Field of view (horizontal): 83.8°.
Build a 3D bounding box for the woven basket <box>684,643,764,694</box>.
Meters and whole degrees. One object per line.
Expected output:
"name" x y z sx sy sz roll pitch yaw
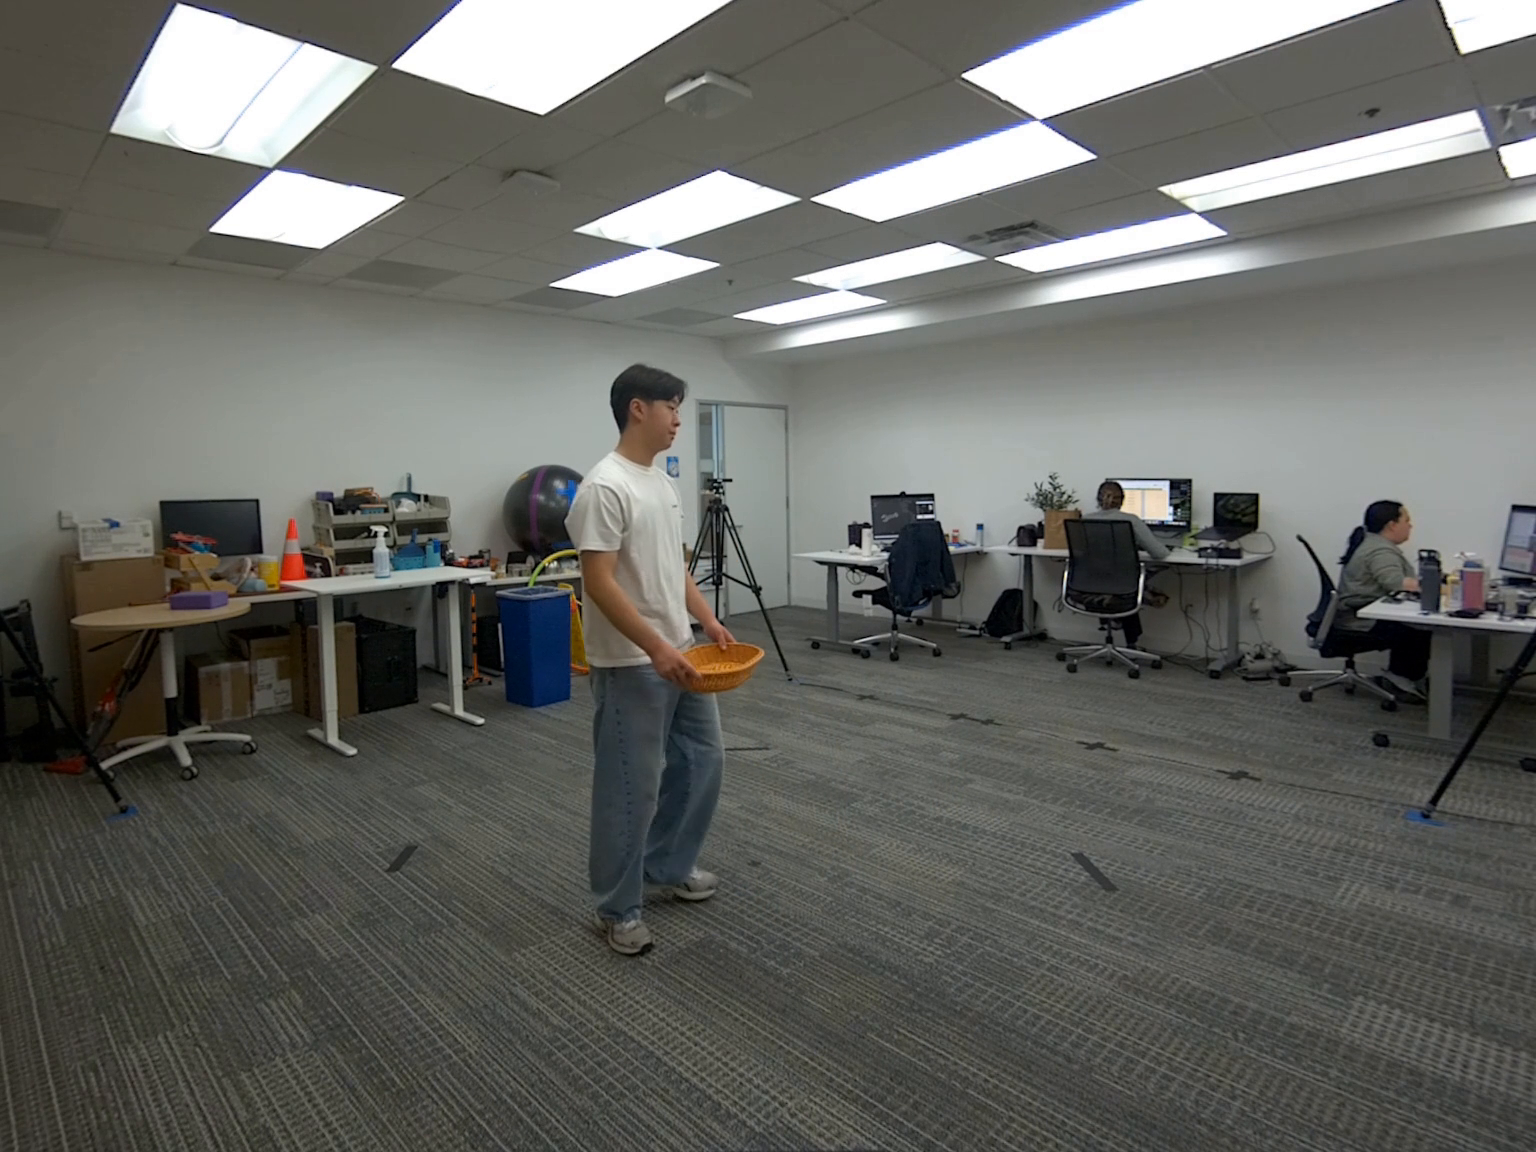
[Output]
"woven basket" -0.165 0.277 2.548 0.260 0.073 0.343 4 11 33
